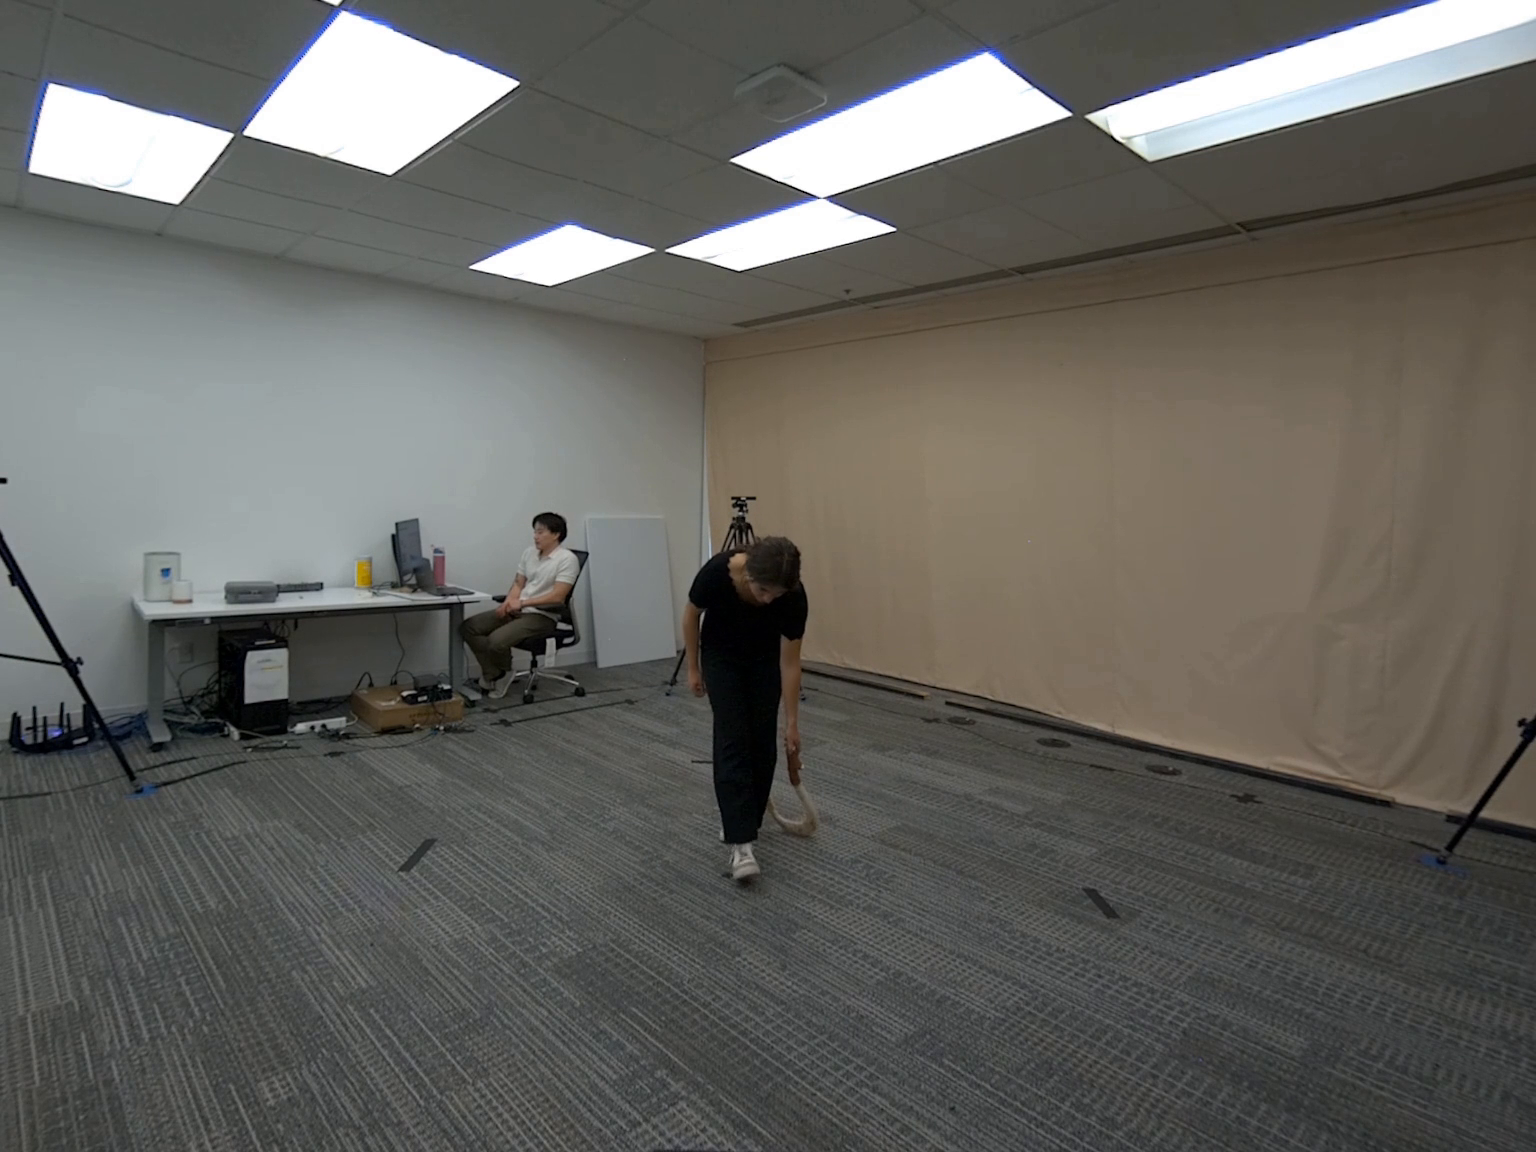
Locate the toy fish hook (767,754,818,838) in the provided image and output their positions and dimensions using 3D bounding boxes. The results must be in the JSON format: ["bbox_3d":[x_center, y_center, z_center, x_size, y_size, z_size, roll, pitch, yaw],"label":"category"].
[{"bbox_3d":[0.067,0.865,3.392,0.228,0.496,0.048,0,29,21],"label":"toy fish hook"}]
